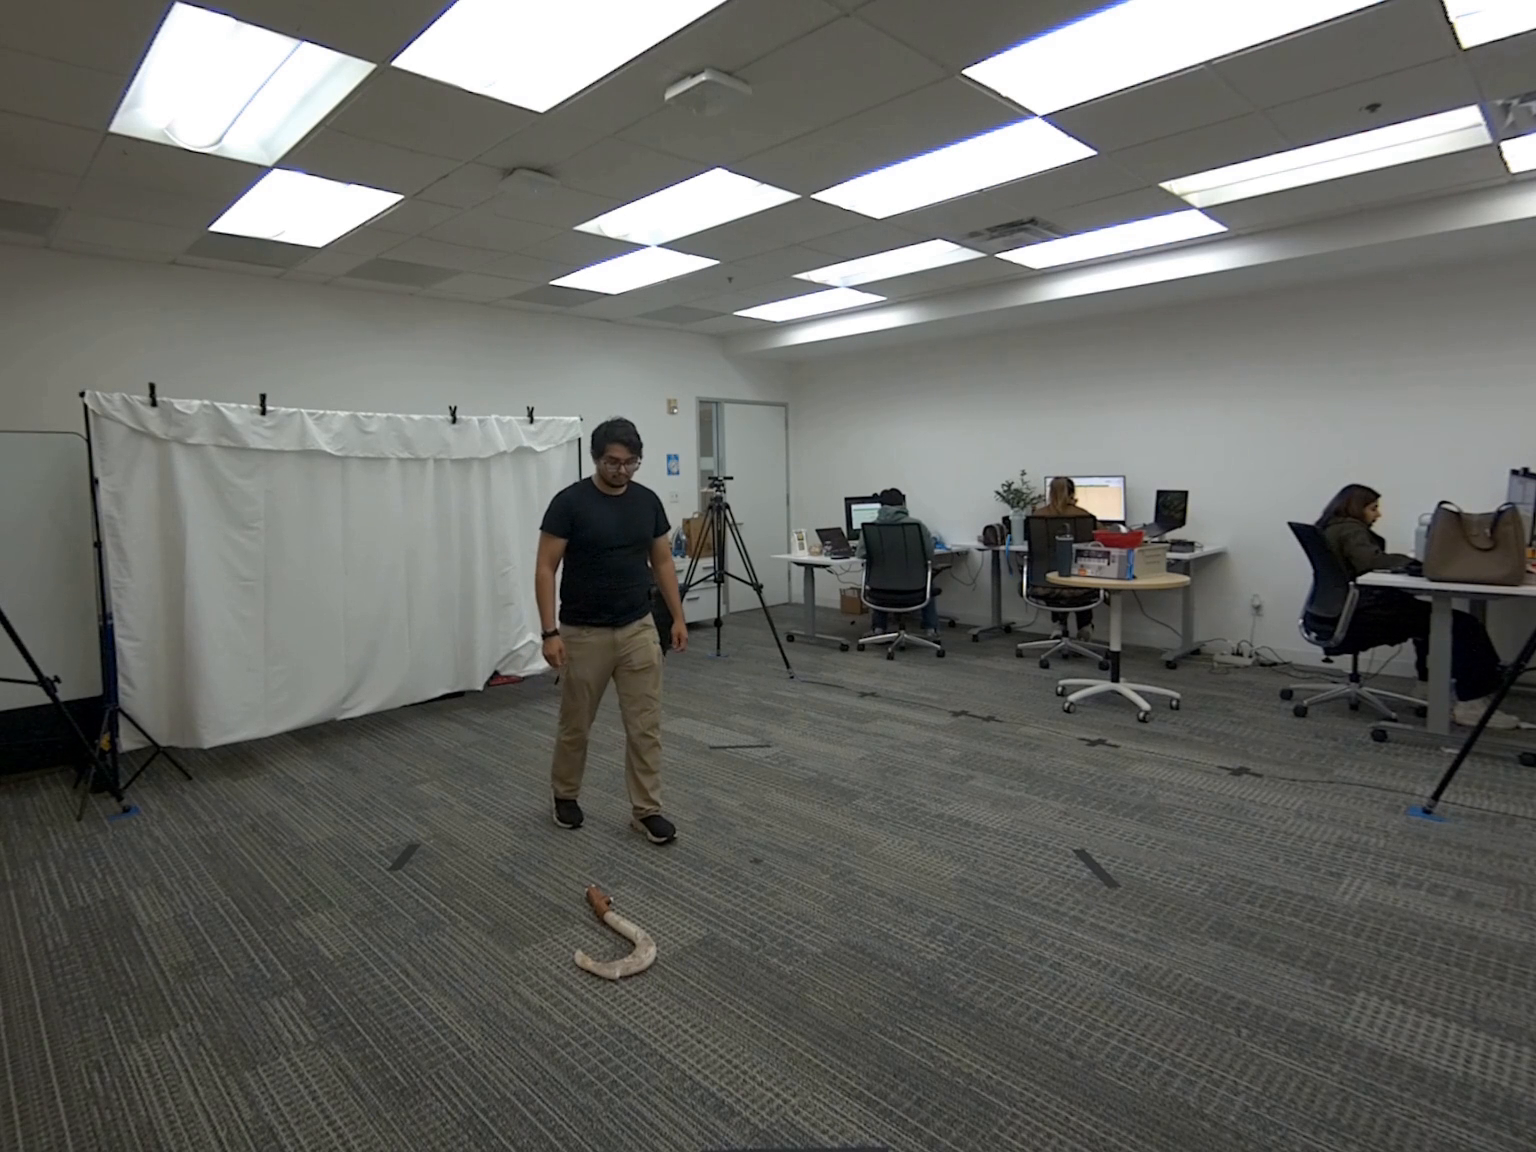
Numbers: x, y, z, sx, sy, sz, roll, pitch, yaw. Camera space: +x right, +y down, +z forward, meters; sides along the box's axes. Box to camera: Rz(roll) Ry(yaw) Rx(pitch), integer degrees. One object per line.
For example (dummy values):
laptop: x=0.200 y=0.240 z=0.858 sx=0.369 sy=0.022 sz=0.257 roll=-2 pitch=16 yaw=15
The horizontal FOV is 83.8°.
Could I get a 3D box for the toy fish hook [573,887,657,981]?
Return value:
toy fish hook: x=-0.511 y=1.088 z=2.618 sx=0.219 sy=0.048 sz=0.520 roll=-4 pitch=7 yaw=-29
